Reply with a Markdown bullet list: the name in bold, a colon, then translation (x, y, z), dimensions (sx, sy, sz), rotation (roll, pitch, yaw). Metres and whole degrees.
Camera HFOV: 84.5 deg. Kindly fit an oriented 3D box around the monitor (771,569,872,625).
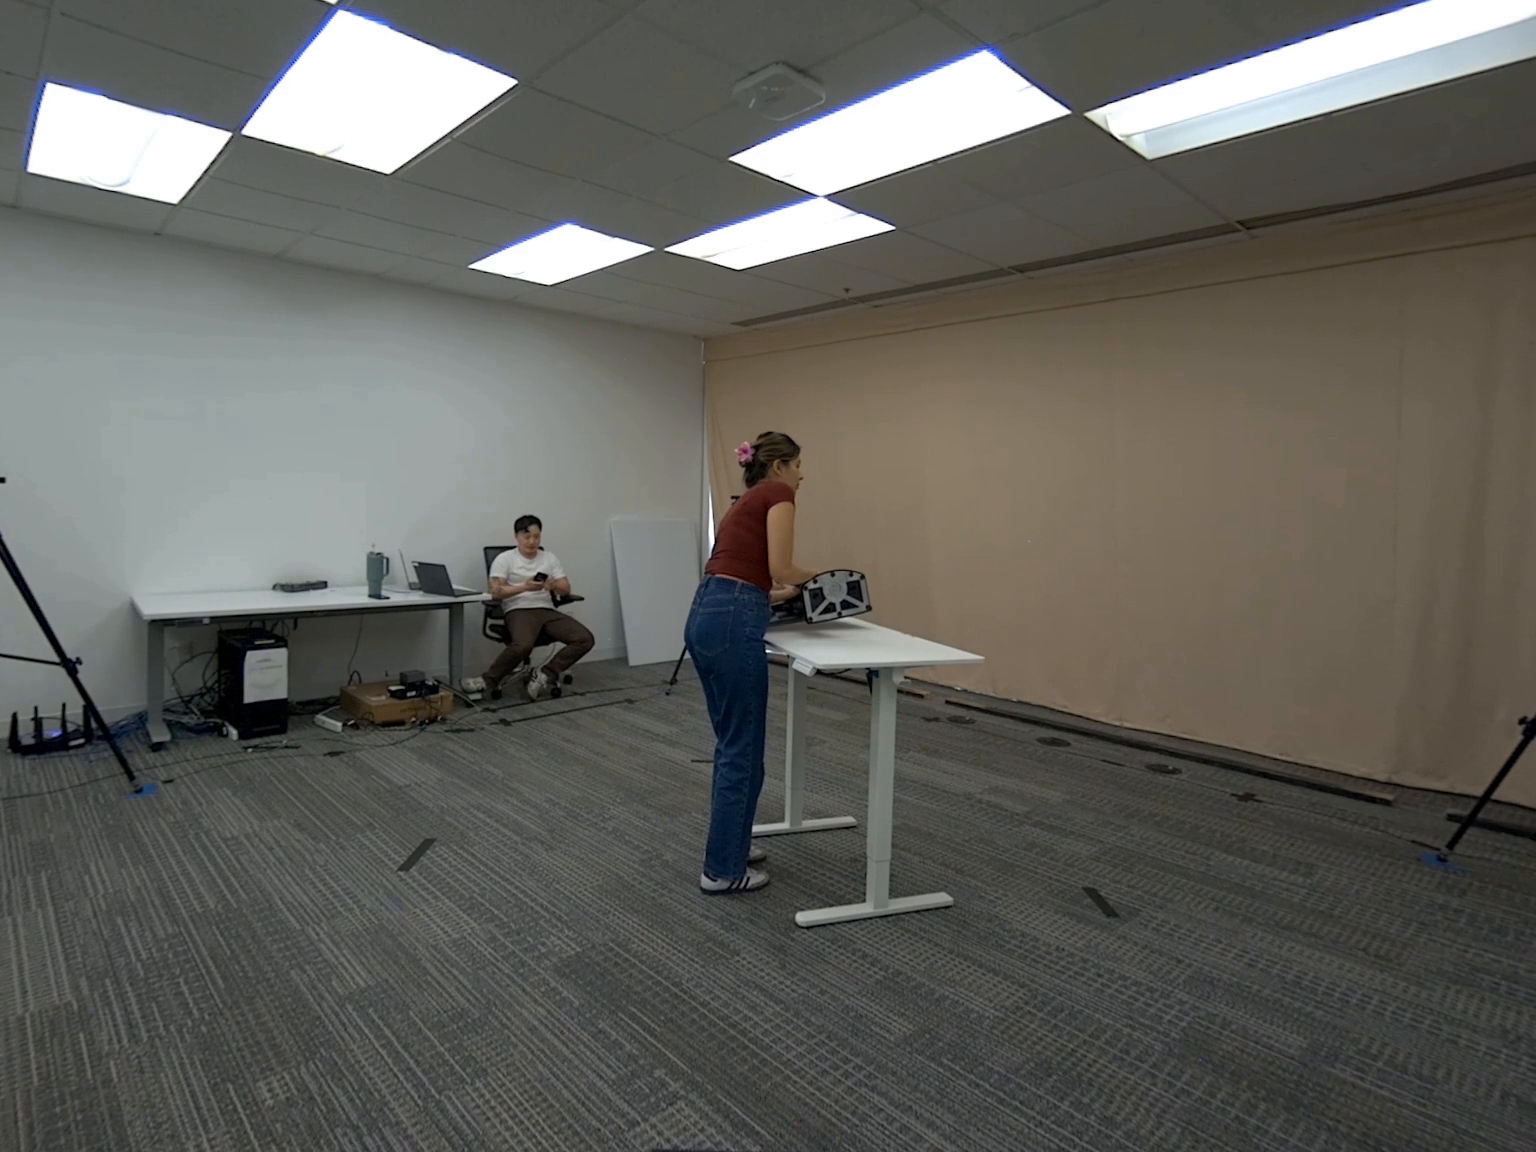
- **monitor**: translation (0.144, 0.078, 3.343), dimensions (0.530, 0.187, 0.531), rotation (-6, 2, -24)
